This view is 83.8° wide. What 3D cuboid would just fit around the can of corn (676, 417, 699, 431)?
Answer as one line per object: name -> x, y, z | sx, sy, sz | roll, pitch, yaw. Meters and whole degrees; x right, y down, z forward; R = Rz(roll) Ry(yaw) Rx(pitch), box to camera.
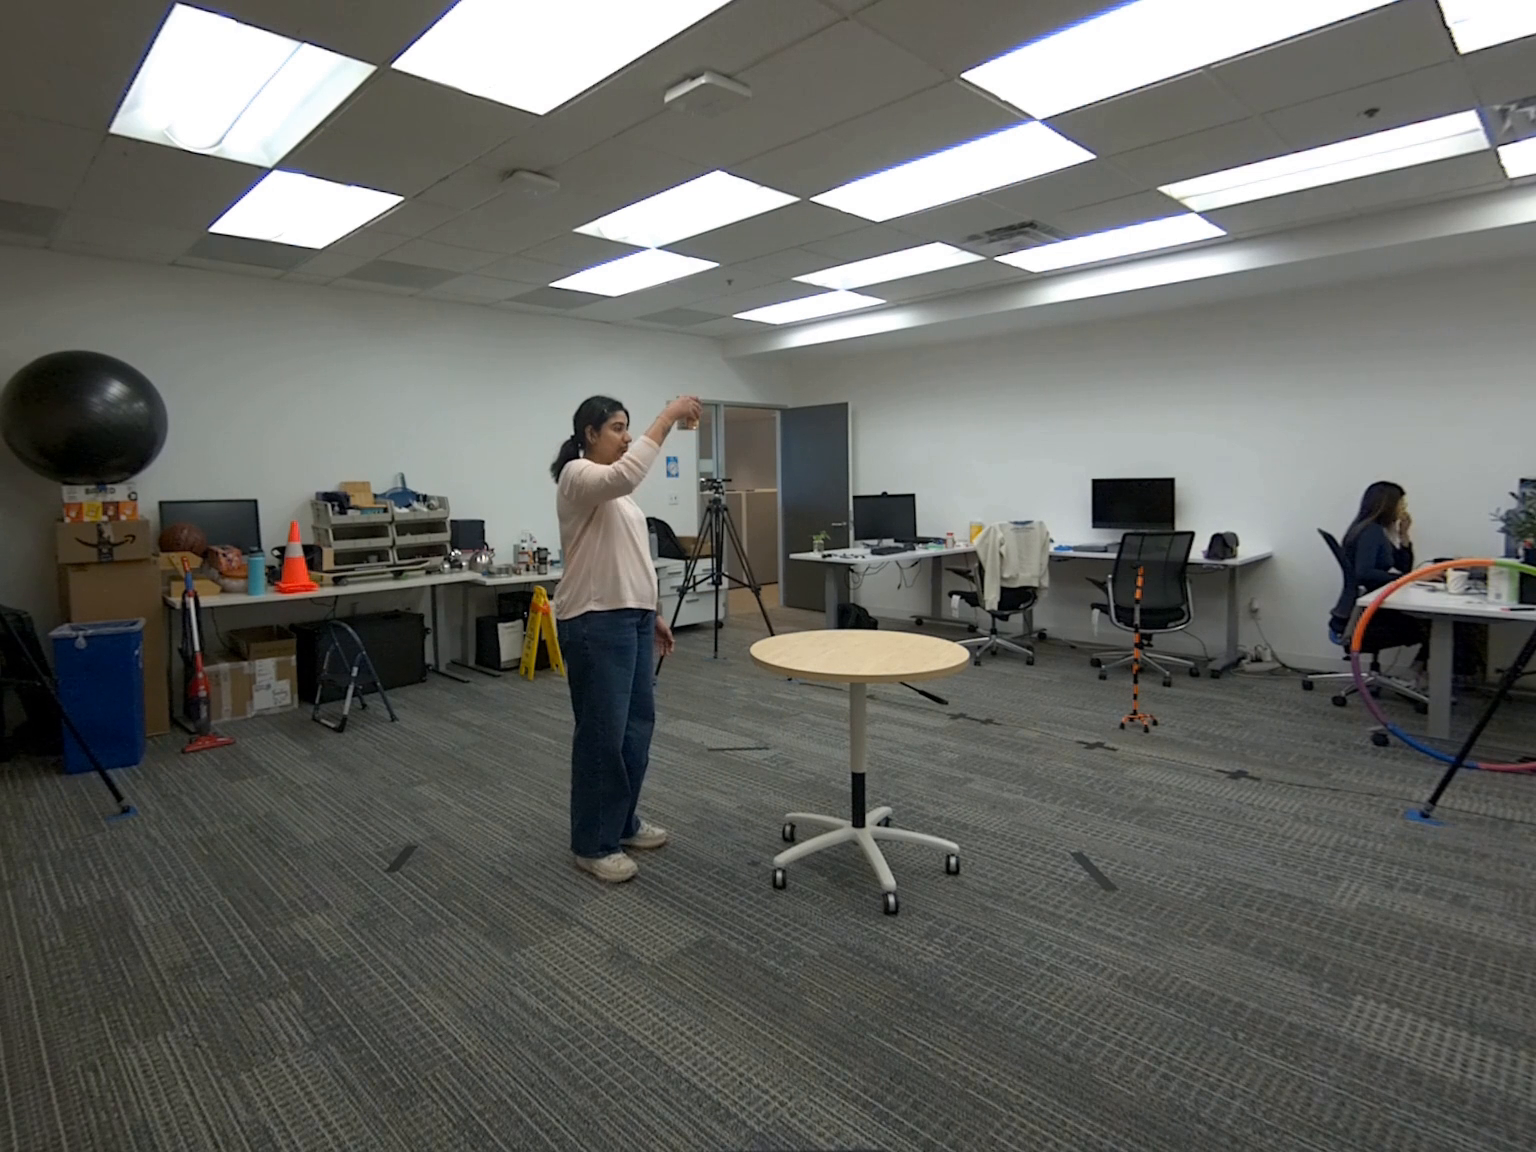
can of corn -> -0.270, -0.561, 2.919 | 0.074, 0.110, 0.075 | -2, 7, -1
